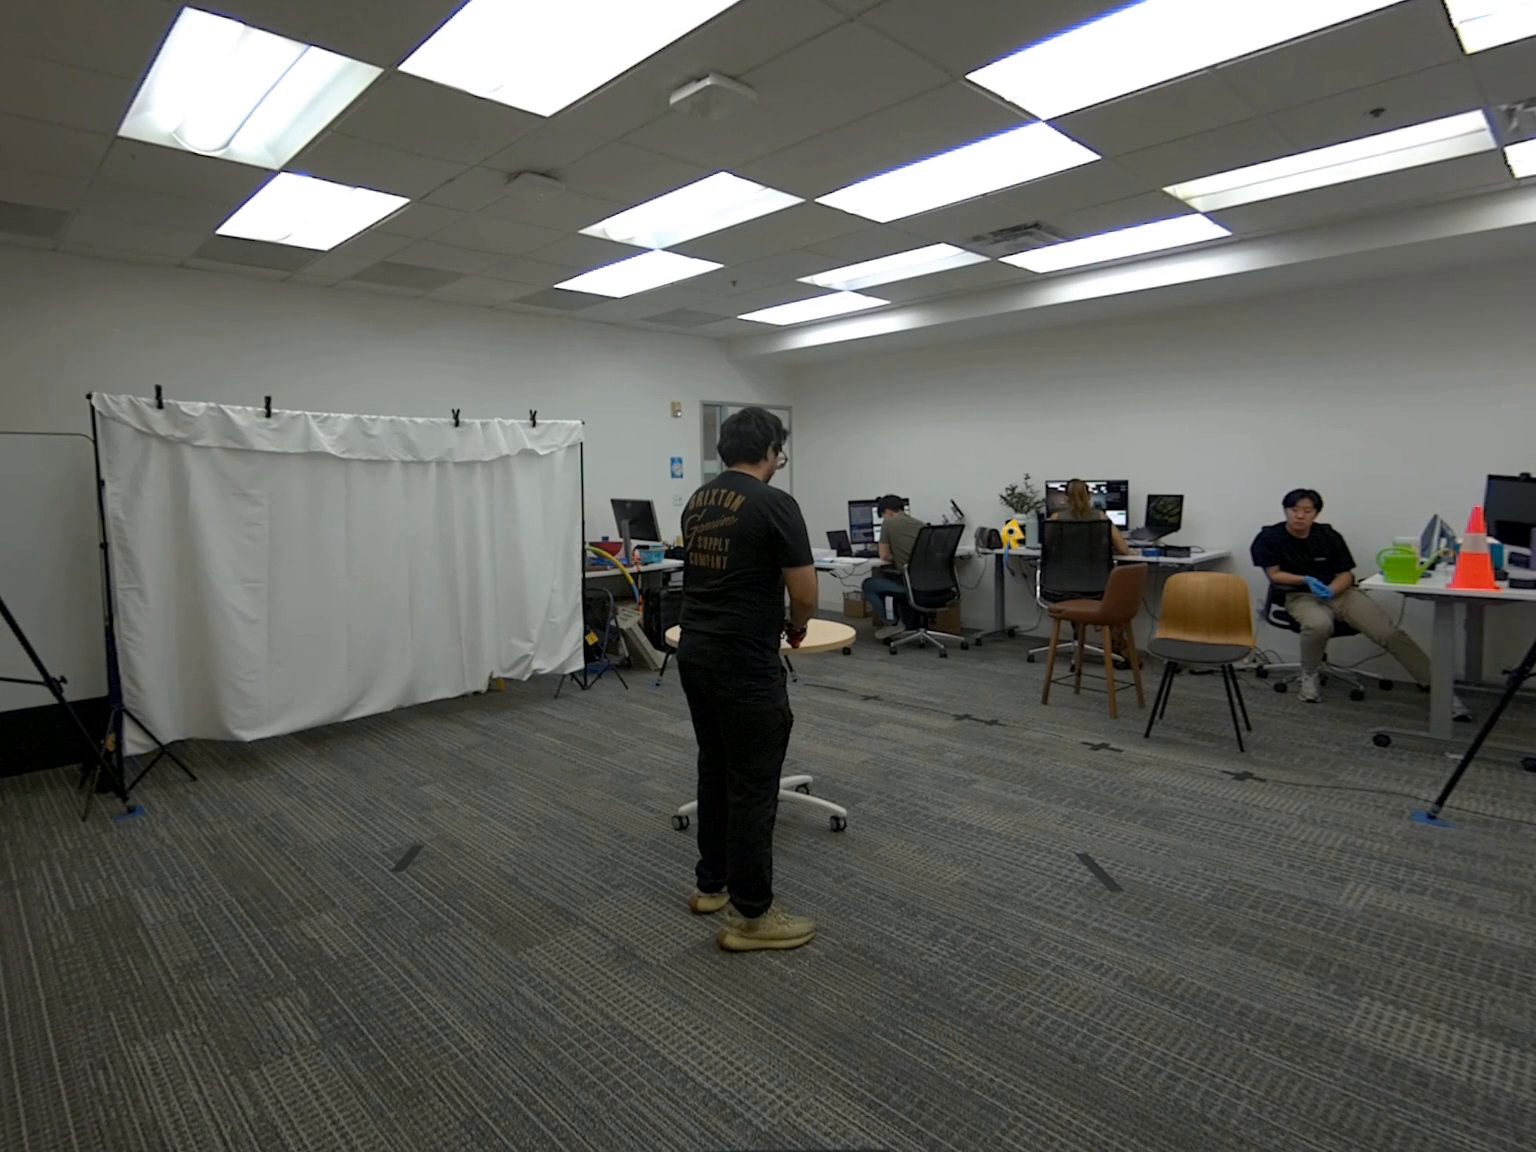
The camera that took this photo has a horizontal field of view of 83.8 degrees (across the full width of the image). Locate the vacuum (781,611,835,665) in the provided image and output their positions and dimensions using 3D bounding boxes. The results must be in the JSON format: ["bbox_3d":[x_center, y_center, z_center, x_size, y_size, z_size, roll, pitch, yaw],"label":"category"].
[{"bbox_3d":[-0.048,0.174,3.353,0.249,0.143,1.067,-4,5,-15],"label":"vacuum"}]
